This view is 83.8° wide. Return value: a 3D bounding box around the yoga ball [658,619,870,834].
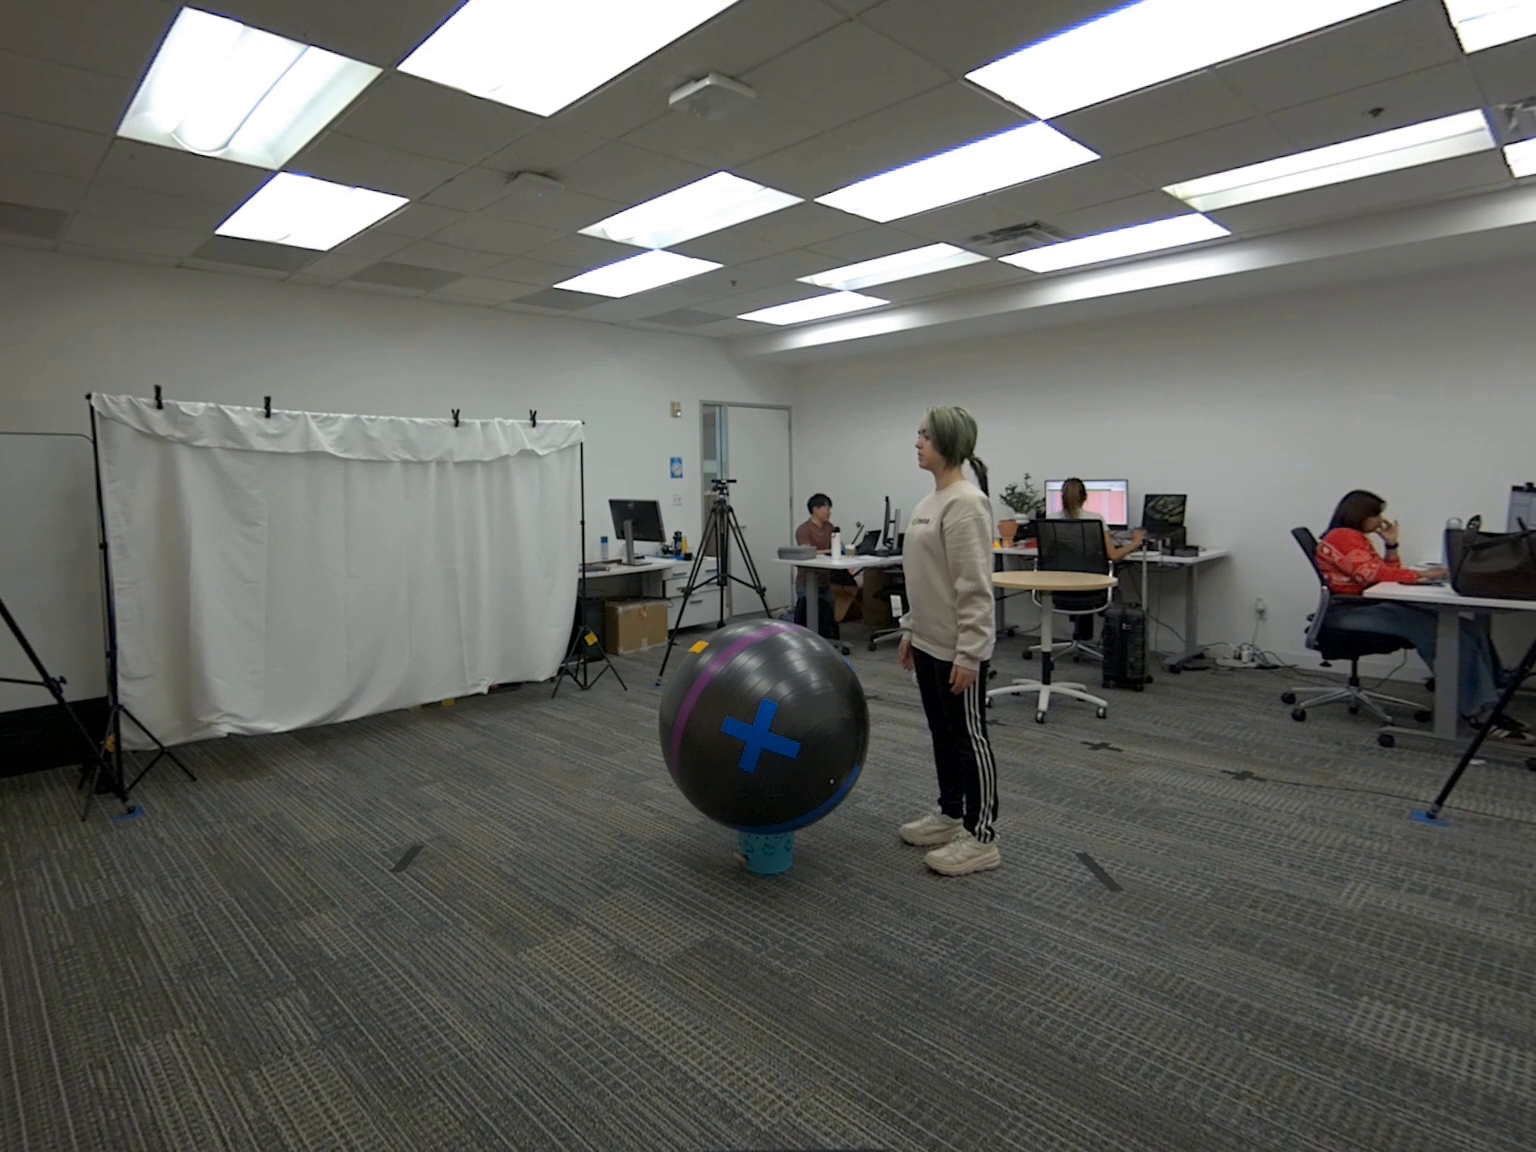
[{"bbox_3d":[-0.014,0.533,3.089,0.757,0.755,0.762,-1,5,-2],"label":"yoga ball"}]
